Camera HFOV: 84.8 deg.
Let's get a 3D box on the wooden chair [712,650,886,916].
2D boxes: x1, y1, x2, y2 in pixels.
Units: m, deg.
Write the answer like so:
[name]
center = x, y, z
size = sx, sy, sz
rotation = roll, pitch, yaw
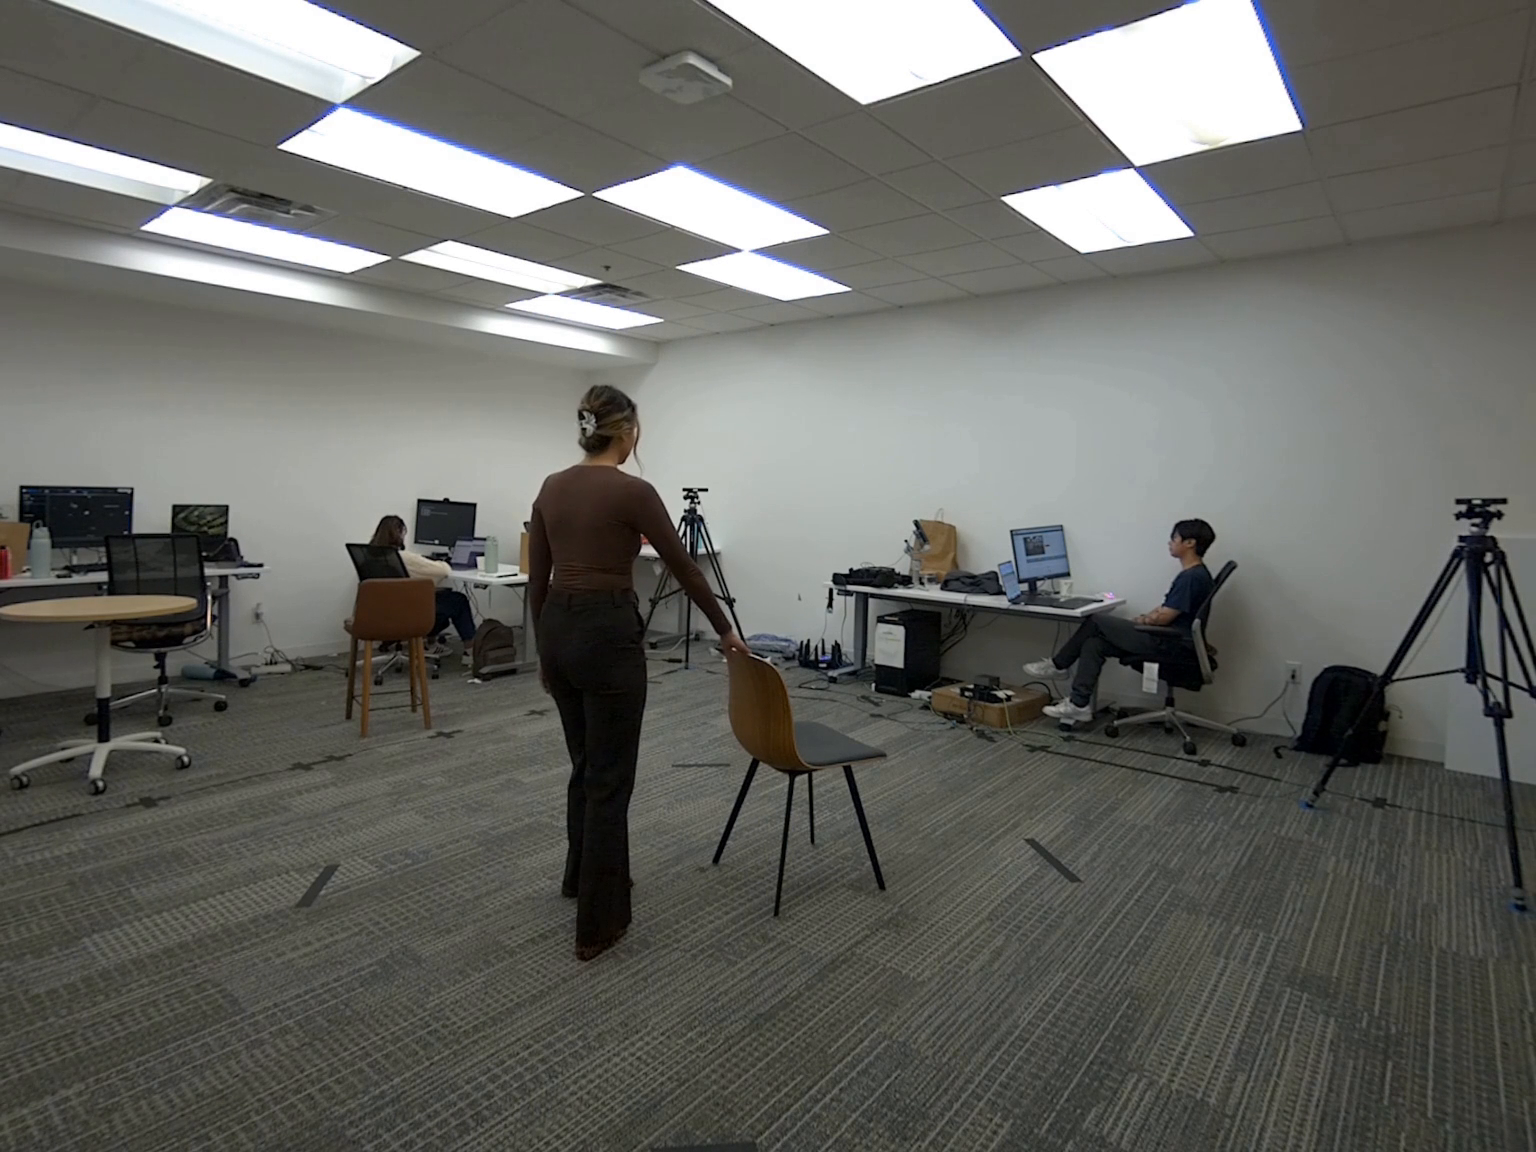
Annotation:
[wooden chair]
center = 0.112, 0.654, 3.047
size = 0.510, 0.873, 0.492
rotation = -5, 6, -30
